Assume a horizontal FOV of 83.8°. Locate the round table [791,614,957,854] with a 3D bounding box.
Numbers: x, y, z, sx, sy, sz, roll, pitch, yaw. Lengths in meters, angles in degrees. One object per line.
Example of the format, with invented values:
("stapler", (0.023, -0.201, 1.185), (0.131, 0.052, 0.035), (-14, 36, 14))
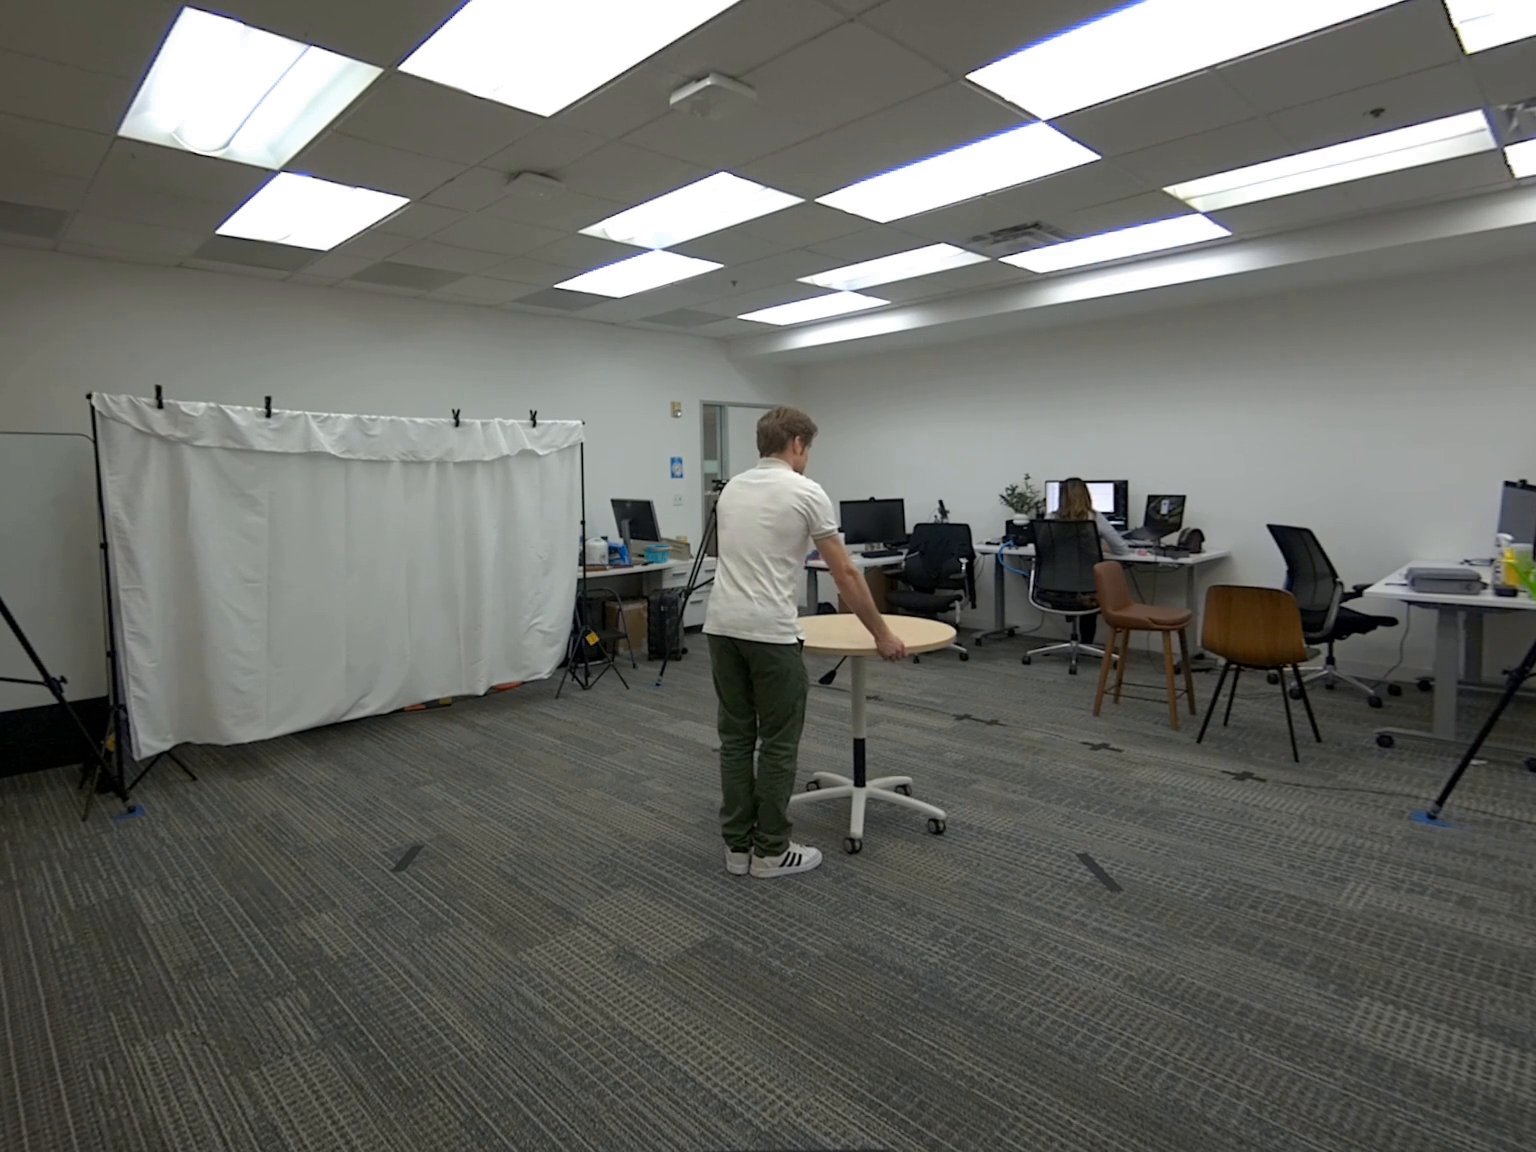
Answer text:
("round table", (0.372, 0.611, 3.473), (0.763, 0.791, 0.768), (-1, 5, -2))
